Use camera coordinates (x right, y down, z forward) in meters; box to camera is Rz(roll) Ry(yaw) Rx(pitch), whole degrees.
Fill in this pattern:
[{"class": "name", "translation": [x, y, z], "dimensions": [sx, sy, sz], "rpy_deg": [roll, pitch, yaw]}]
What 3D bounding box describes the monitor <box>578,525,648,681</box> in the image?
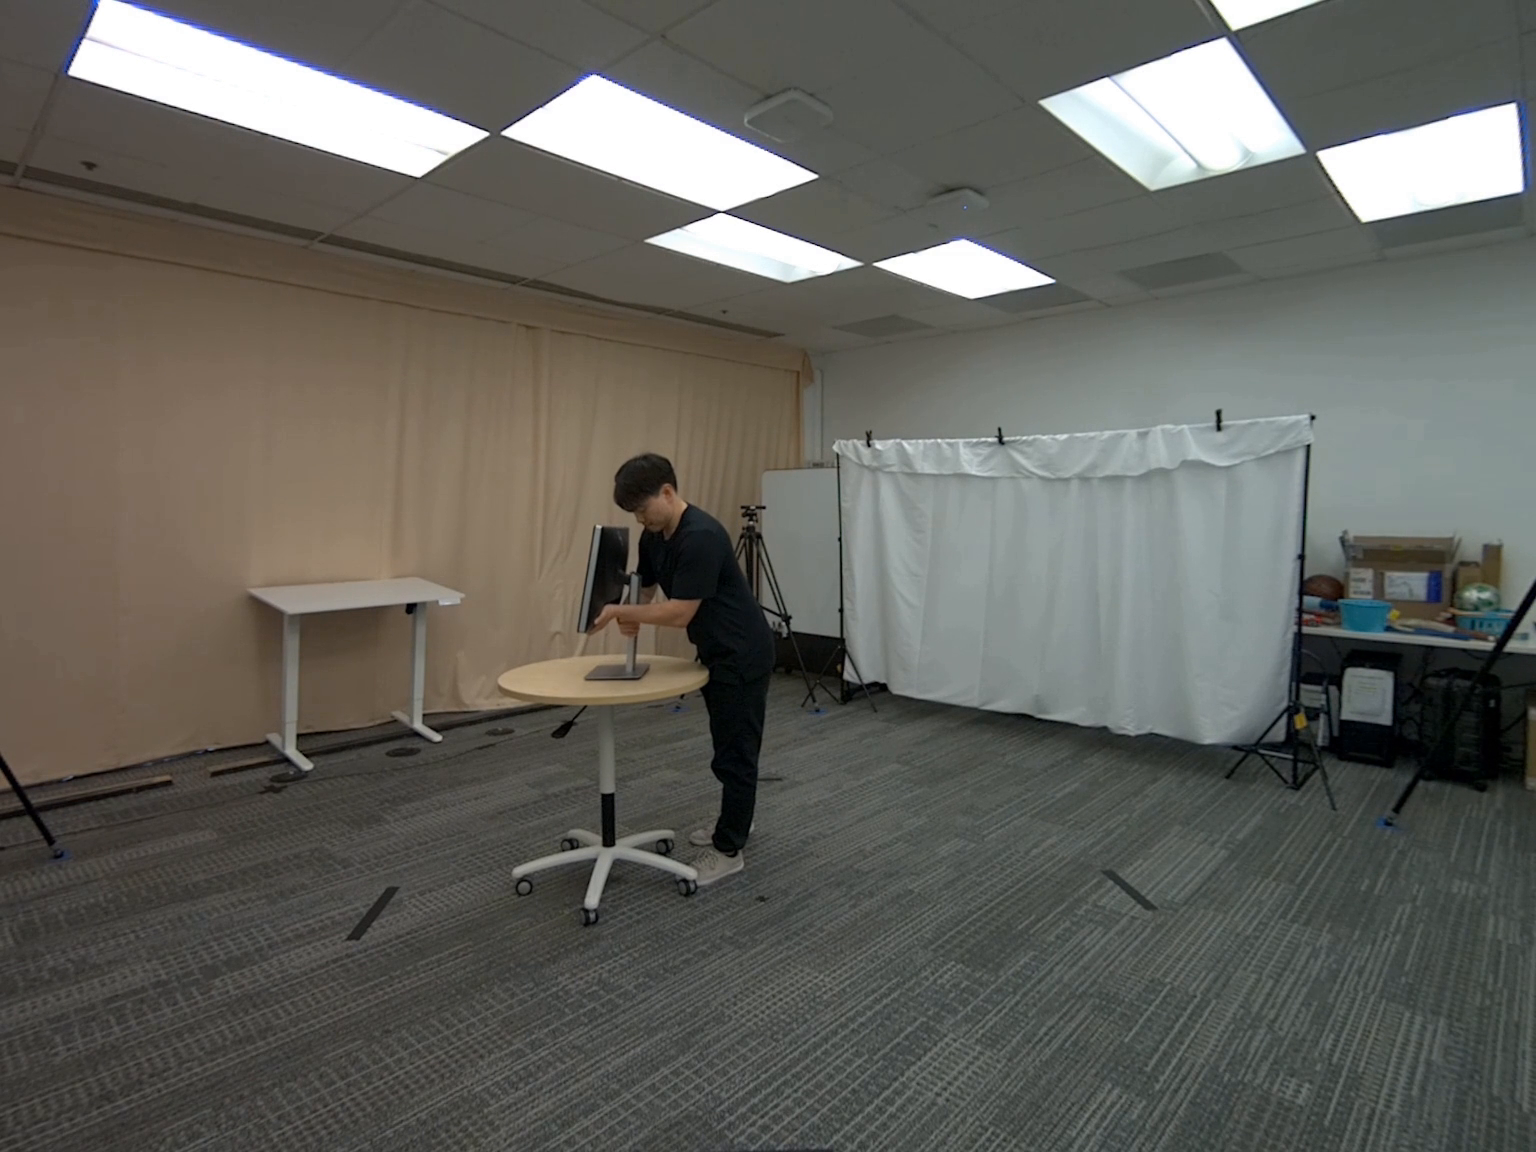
[{"class": "monitor", "translation": [-0.545, 0.098, 3.070], "dimensions": [0.187, 0.522, 0.540], "rpy_deg": [-1, 2, -2]}]
